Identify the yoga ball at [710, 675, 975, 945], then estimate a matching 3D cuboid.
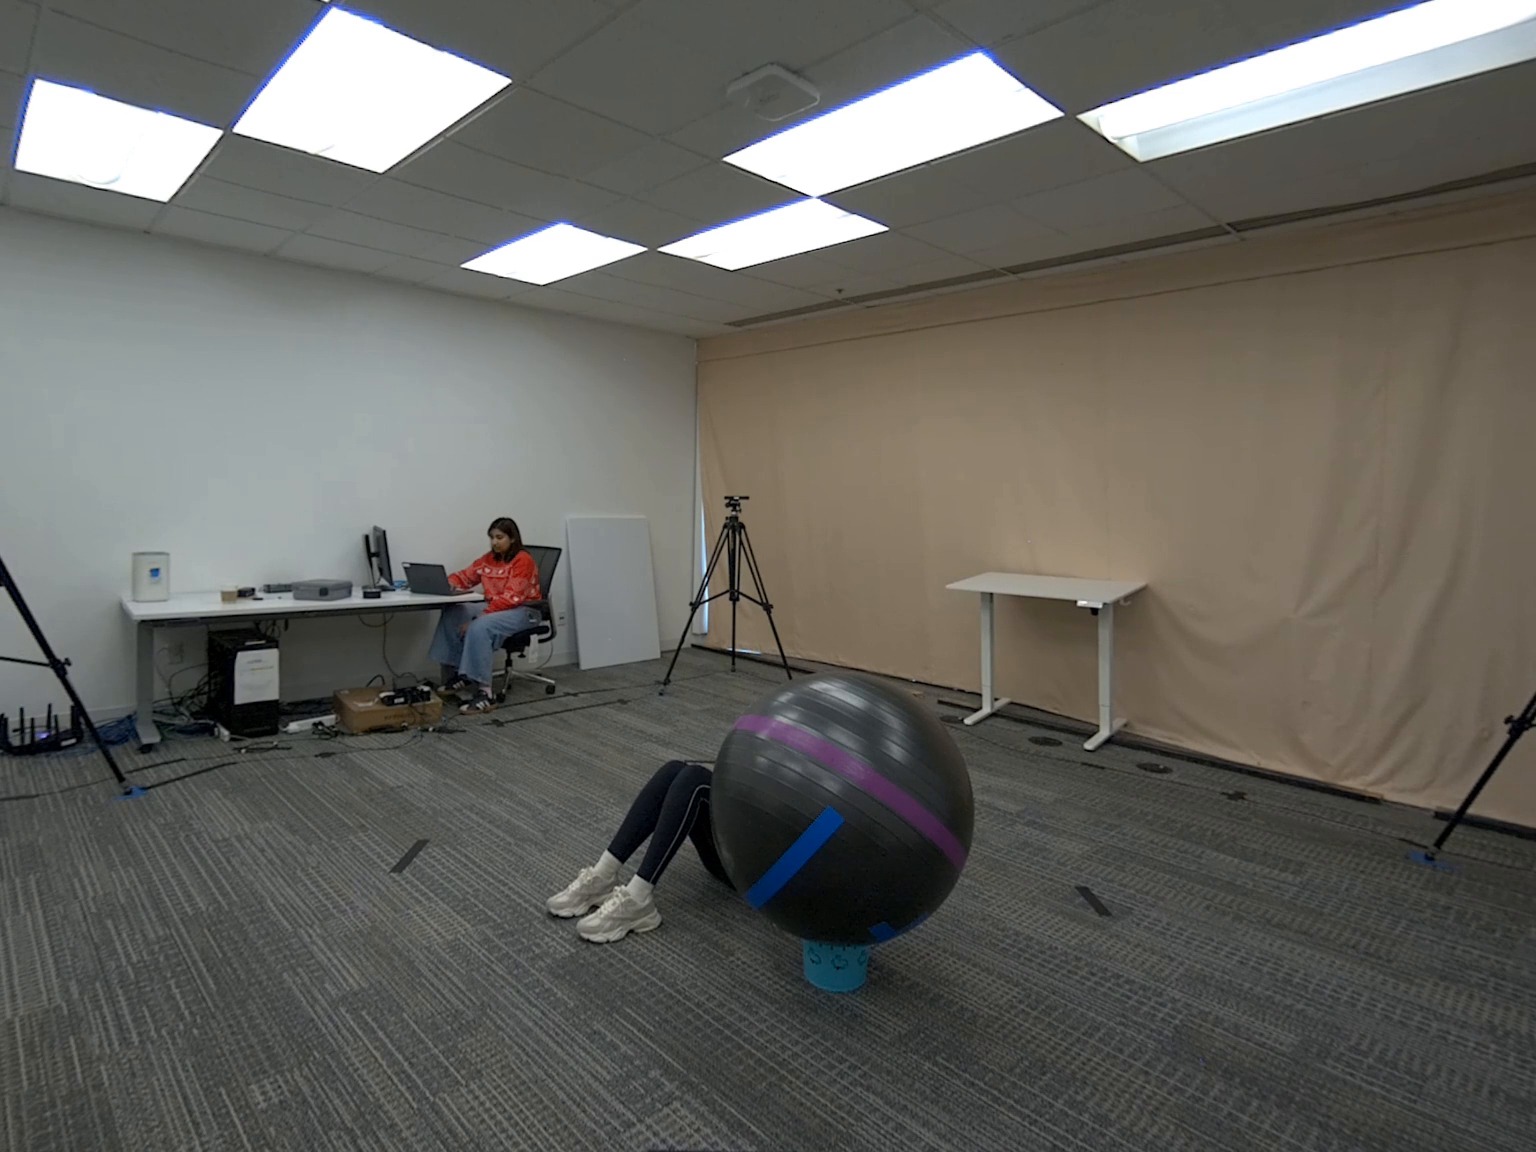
[{"bbox_3d":[0.213,0.665,2.448,0.757,0.754,0.762,0,7,-1],"label":"yoga ball"}]
